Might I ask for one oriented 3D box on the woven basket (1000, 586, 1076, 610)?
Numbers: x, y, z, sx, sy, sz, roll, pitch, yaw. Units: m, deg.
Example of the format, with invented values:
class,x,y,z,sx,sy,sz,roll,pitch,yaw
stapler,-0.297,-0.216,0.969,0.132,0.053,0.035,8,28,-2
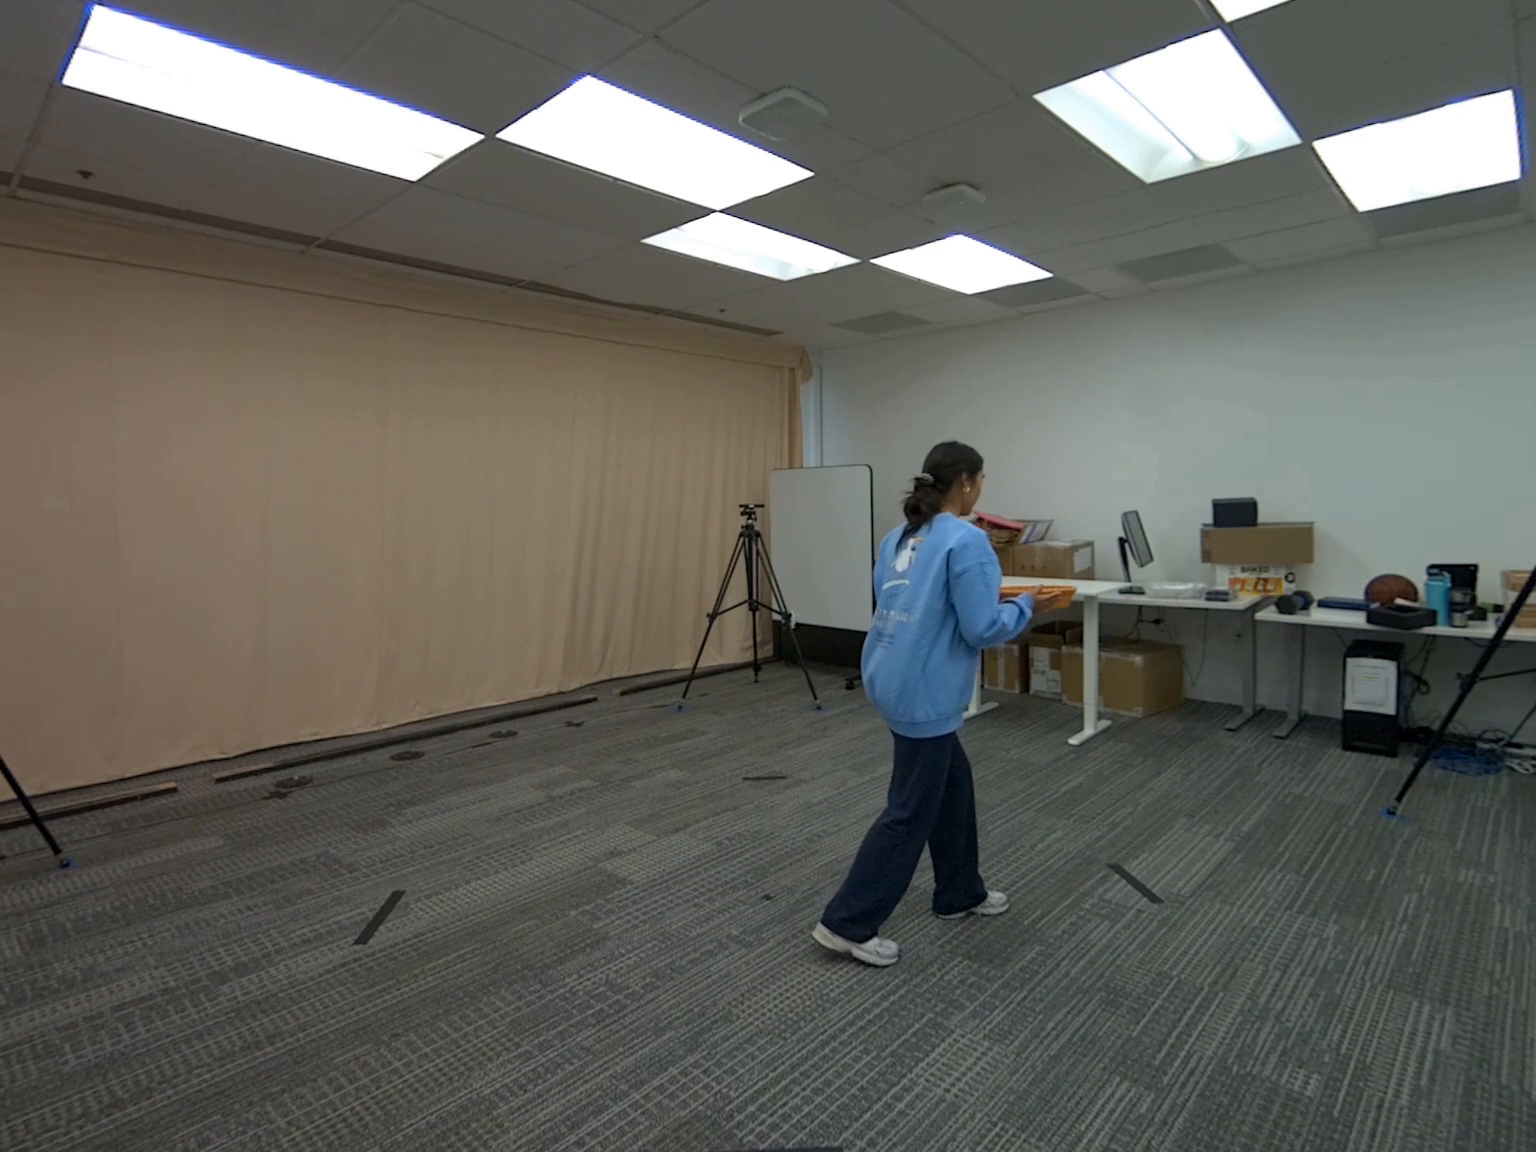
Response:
class,x,y,z,sx,sy,sz,roll,pitch,yaw
woven basket,0.829,0.085,2.774,0.340,0.073,0.260,-4,5,-37
